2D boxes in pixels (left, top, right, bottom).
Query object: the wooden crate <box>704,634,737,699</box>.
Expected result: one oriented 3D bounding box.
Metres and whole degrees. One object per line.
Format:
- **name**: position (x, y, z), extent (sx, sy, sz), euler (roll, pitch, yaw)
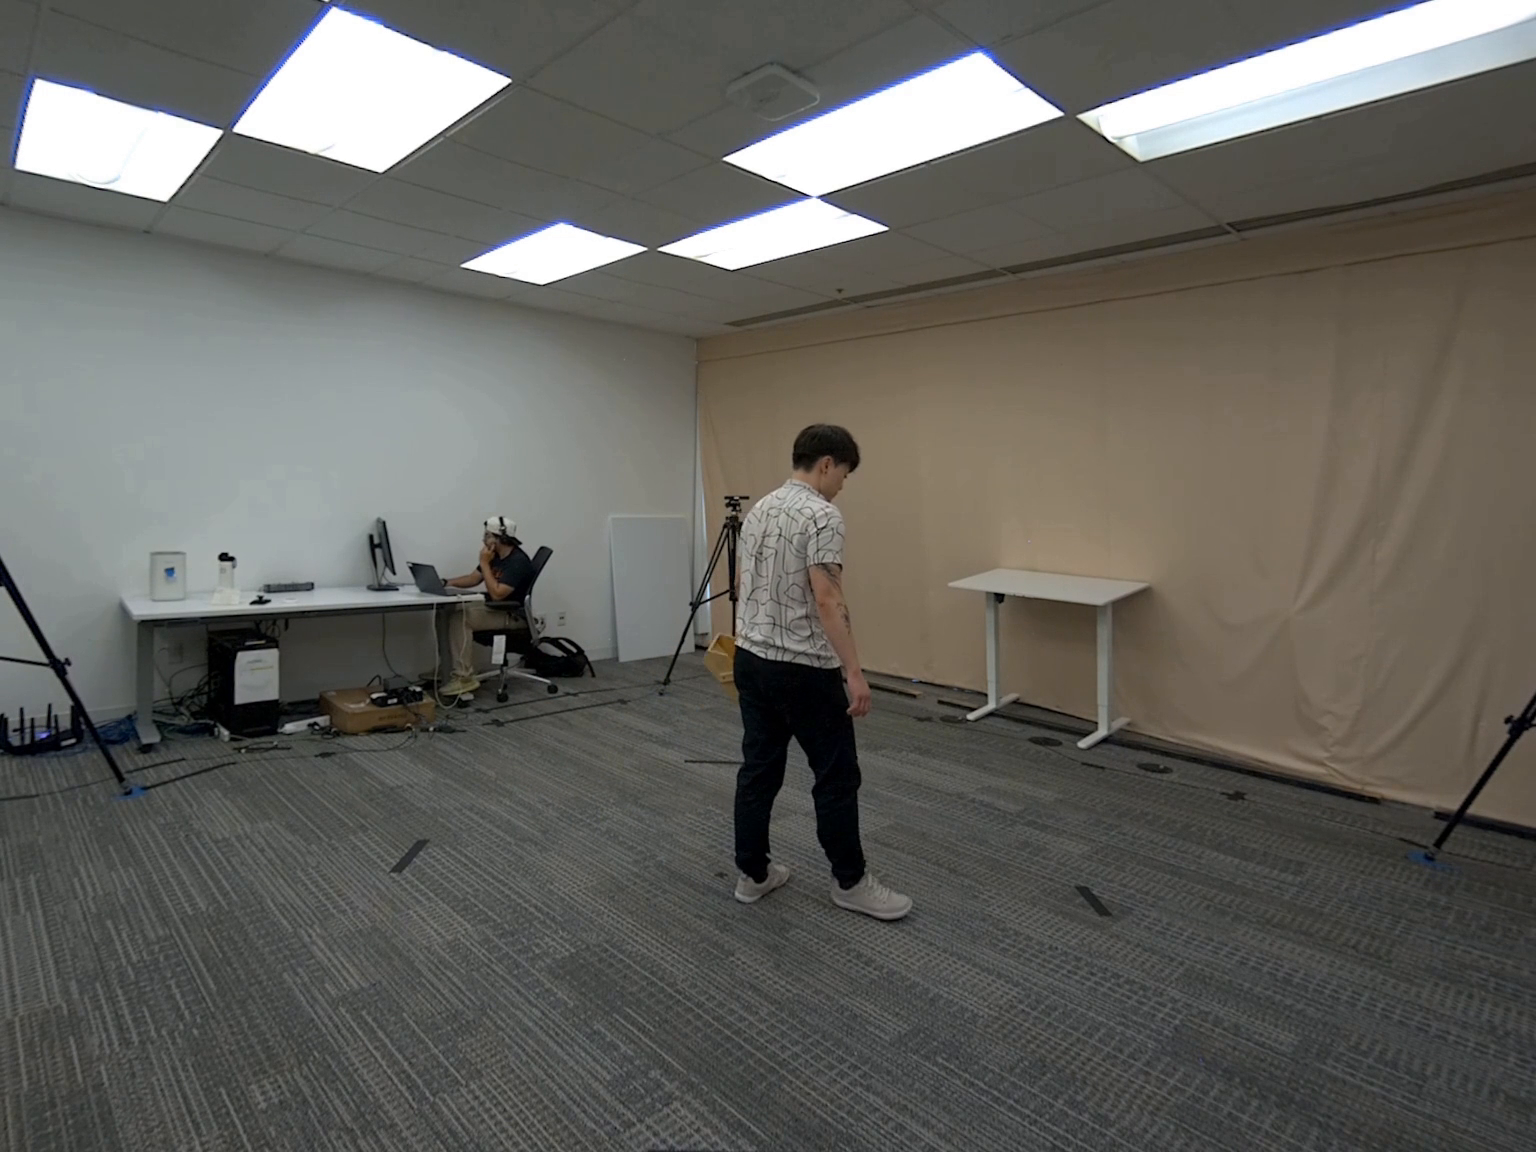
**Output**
- **wooden crate**: position (-0.052, 0.325, 3.359), extent (0.273, 0.301, 0.325), euler (-40, 3, 9)
